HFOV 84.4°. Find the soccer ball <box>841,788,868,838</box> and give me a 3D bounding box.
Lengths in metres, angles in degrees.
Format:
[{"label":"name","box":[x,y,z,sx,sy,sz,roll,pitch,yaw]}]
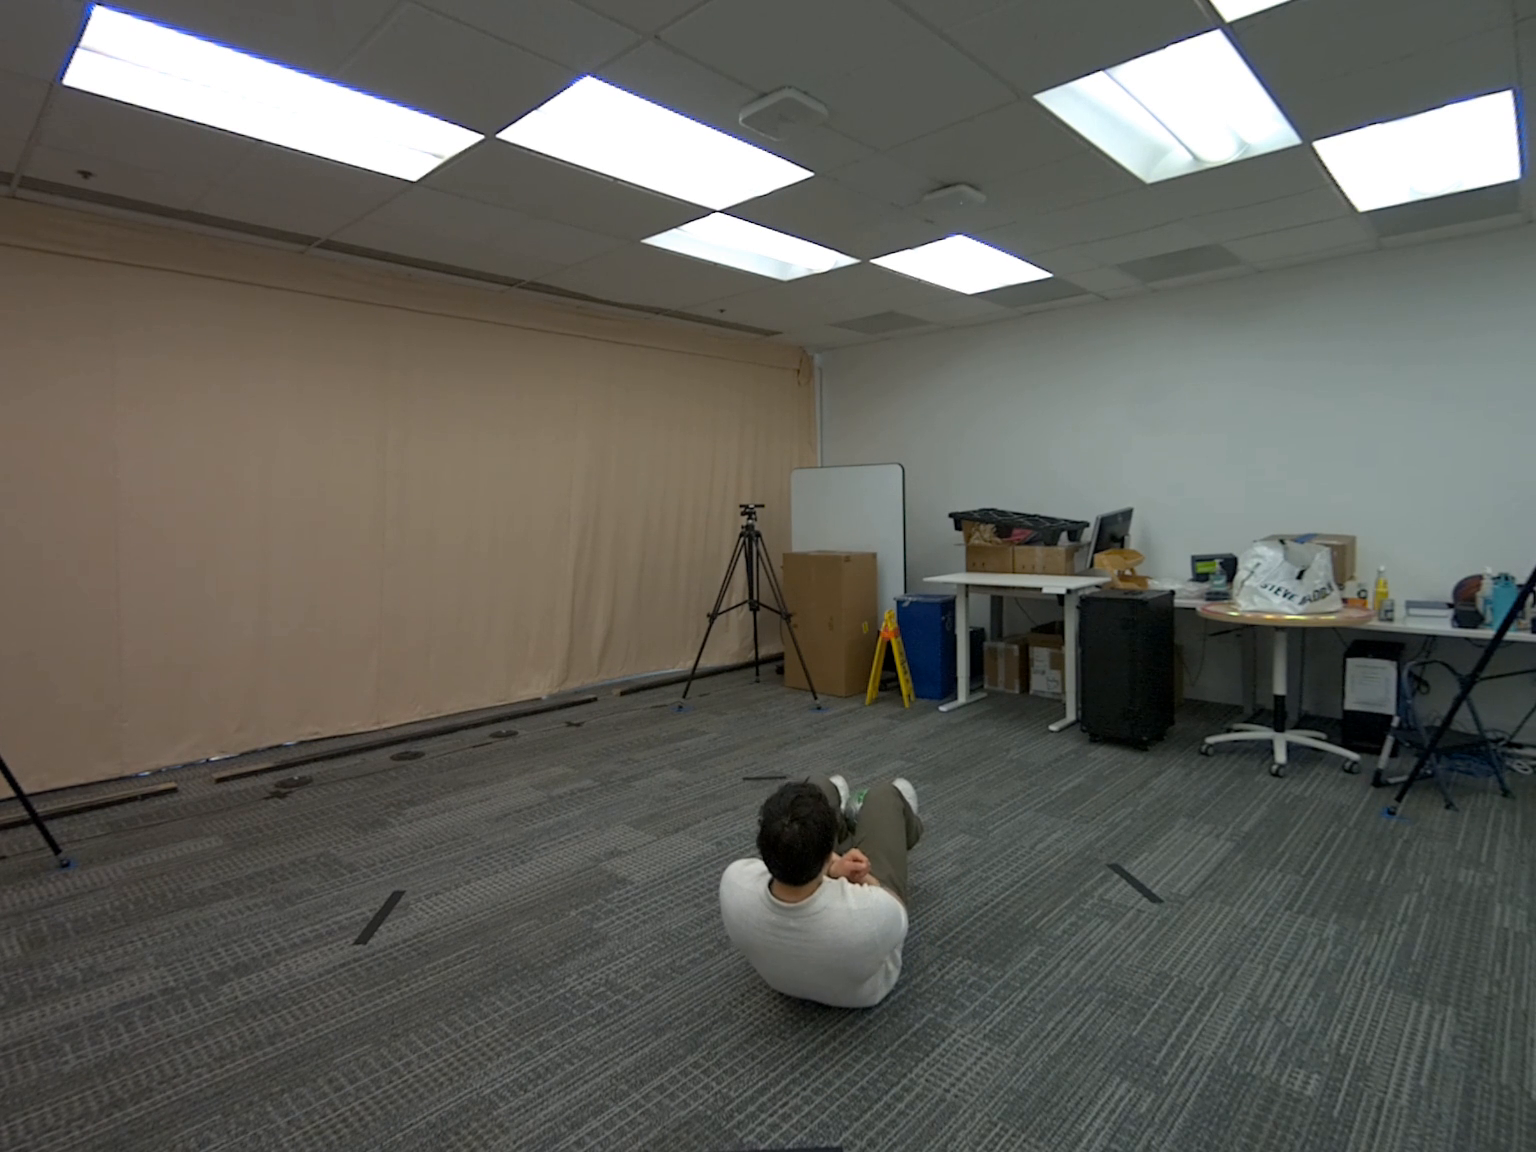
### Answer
[{"label":"soccer ball","box":[0.378,0.864,3.030,0.187,0.187,0.188,-1,4,-2]}]
